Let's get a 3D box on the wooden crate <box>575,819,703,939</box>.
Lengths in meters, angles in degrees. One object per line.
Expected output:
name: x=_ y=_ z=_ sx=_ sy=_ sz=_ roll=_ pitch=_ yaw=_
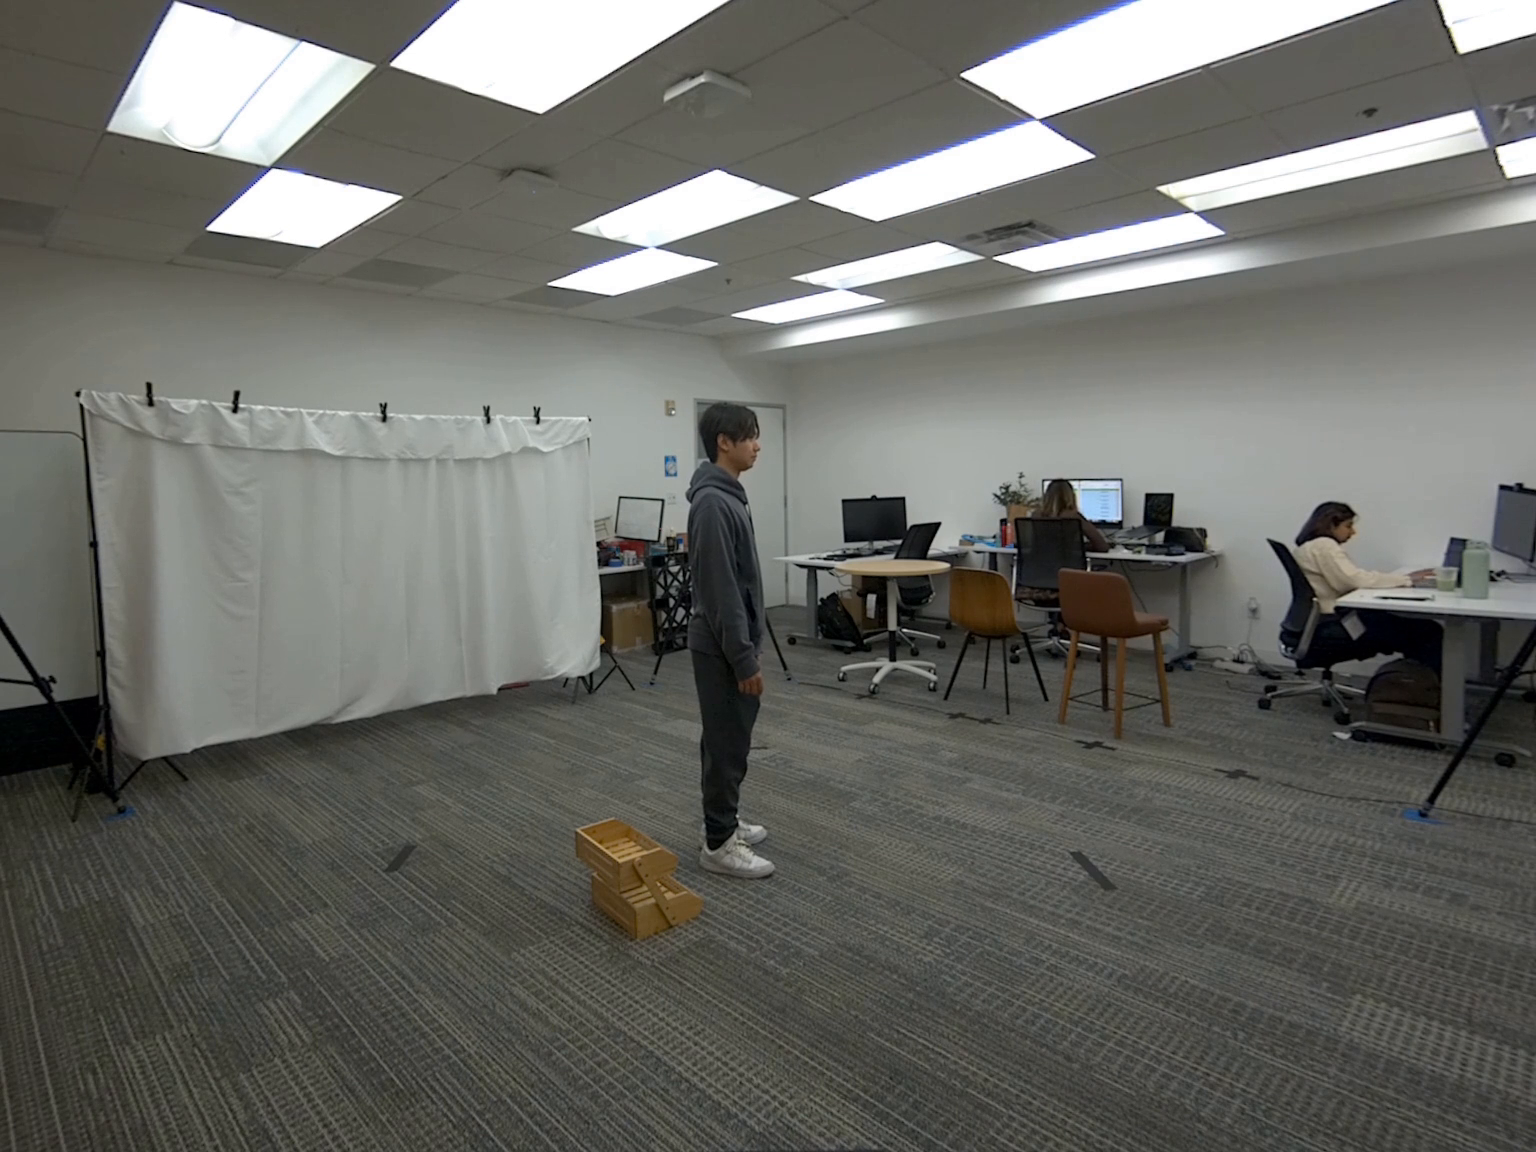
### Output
wooden crate: x=-0.415 y=0.955 z=2.771 sx=0.294 sy=0.272 sz=0.334 roll=-6 pitch=7 yaw=-37
